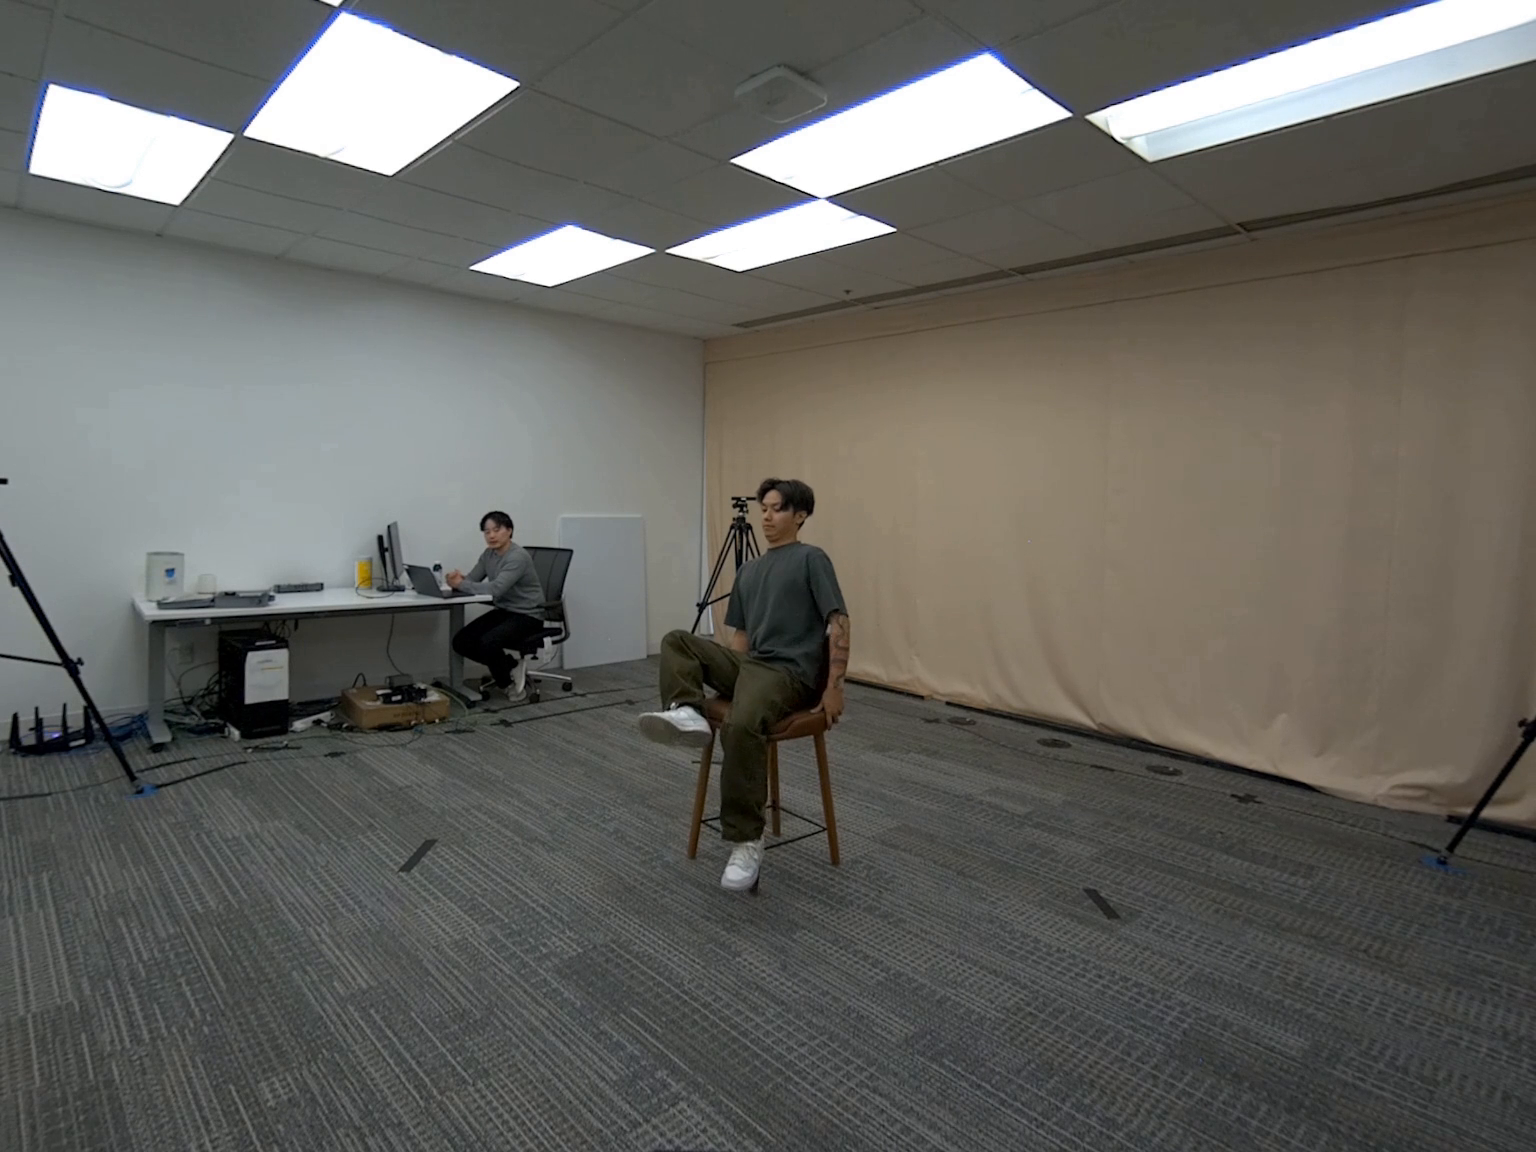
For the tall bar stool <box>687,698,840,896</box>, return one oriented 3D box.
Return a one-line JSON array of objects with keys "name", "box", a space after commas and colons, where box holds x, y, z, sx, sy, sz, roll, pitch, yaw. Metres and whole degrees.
[{"name": "tall bar stool", "box": [-0.002, 0.664, 3.219, 0.457, 0.888, 0.468, 1, 2, -39]}]
